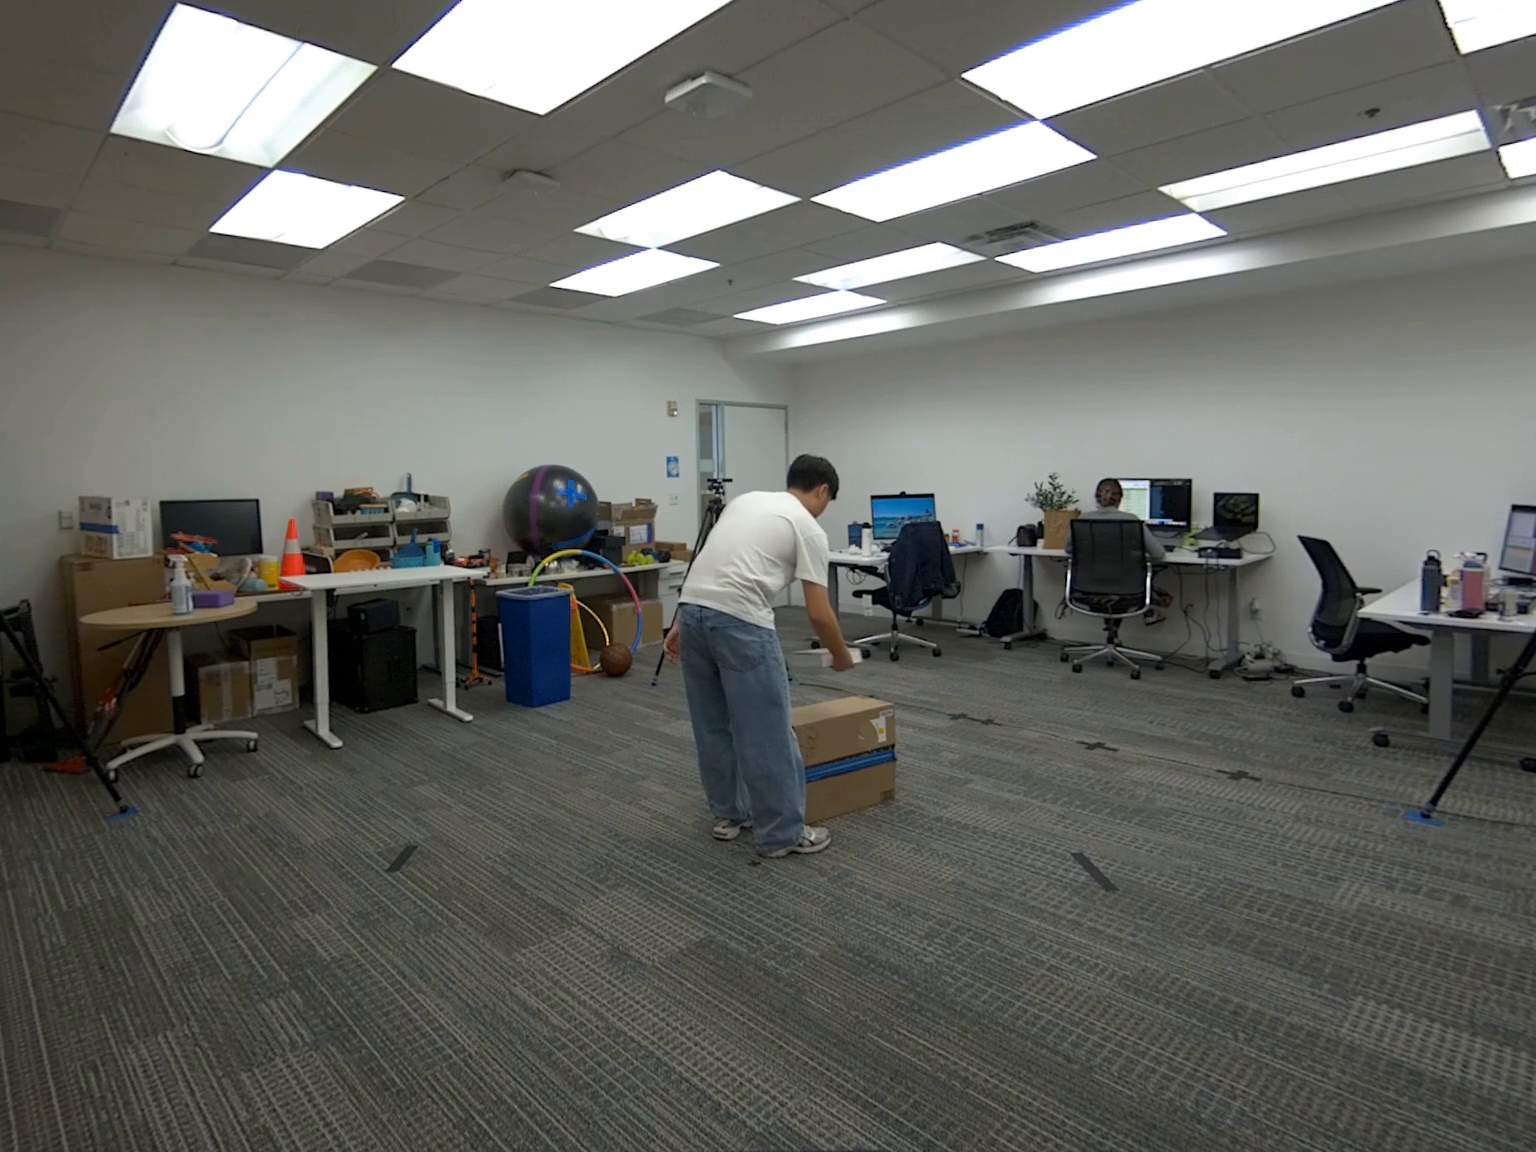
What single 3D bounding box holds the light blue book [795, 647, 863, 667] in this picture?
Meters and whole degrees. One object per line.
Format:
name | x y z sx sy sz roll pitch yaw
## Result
light blue book | 0.238 0.337 3.550 0.187 0.059 0.265 -5 -1 -25
